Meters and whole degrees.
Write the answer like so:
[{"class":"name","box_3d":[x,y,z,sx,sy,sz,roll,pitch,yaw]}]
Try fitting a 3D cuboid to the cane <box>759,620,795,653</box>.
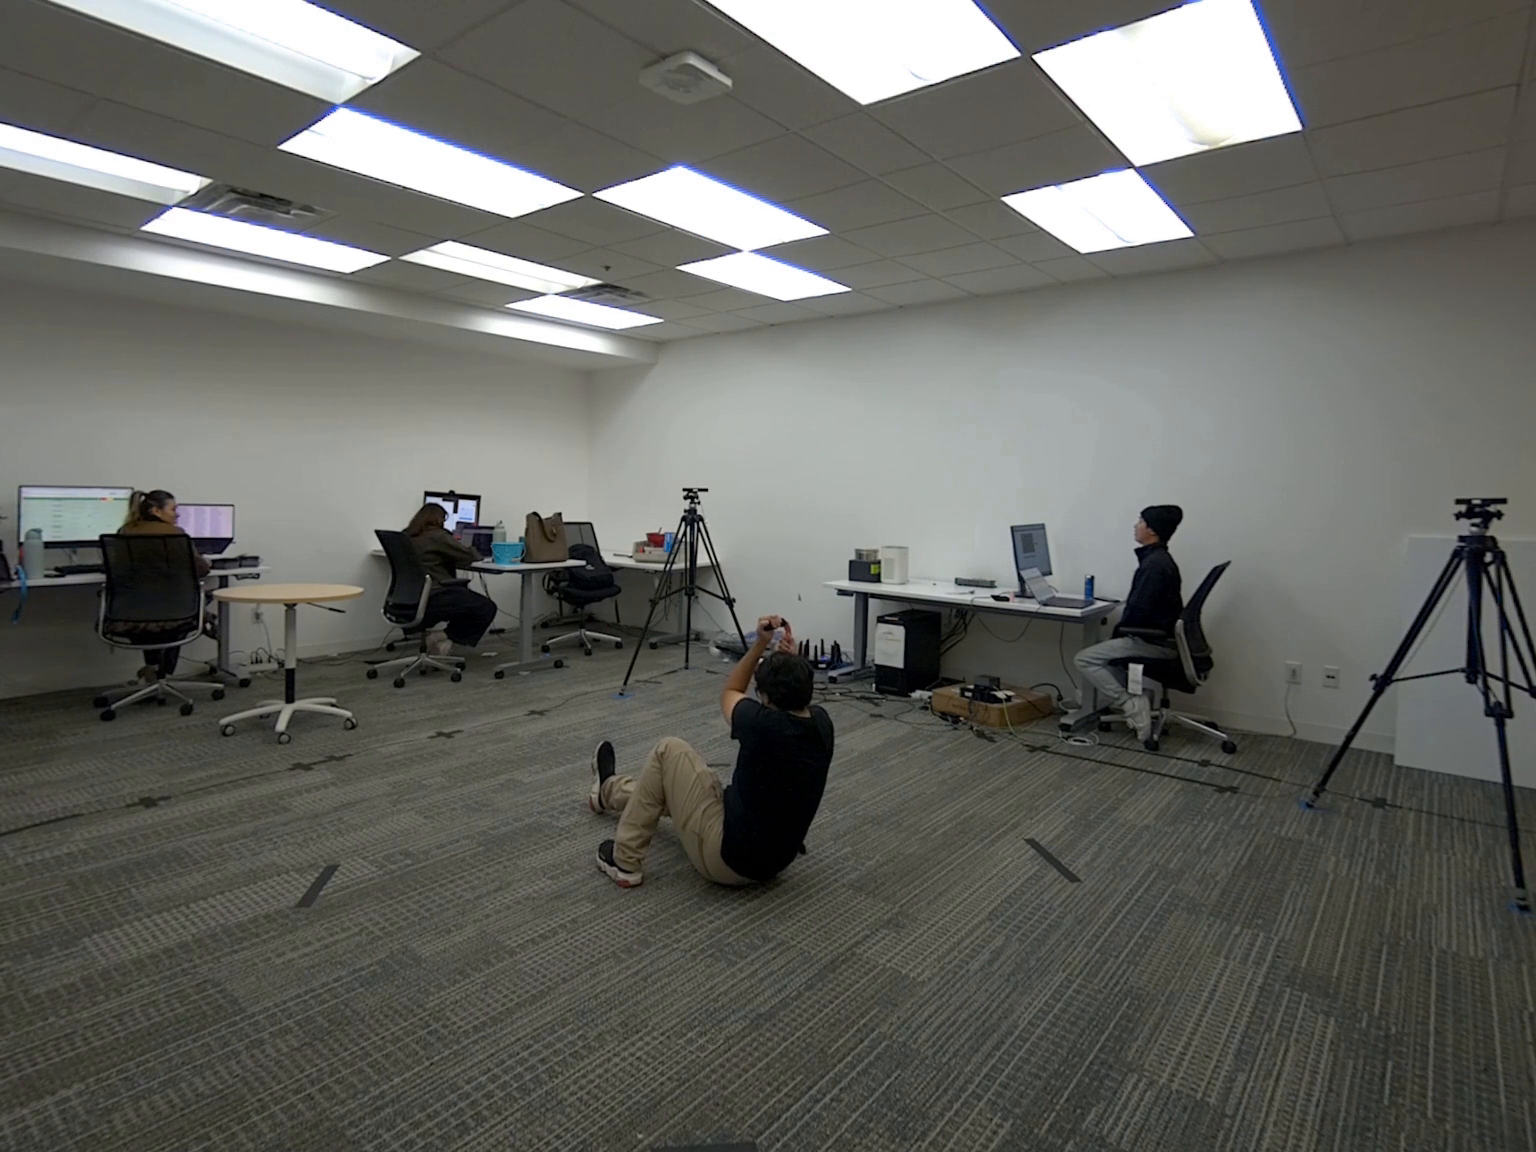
[{"class":"cane","box_3d":[0.043,0.603,3.210,0.156,0.904,0.200,4,5,37]}]
